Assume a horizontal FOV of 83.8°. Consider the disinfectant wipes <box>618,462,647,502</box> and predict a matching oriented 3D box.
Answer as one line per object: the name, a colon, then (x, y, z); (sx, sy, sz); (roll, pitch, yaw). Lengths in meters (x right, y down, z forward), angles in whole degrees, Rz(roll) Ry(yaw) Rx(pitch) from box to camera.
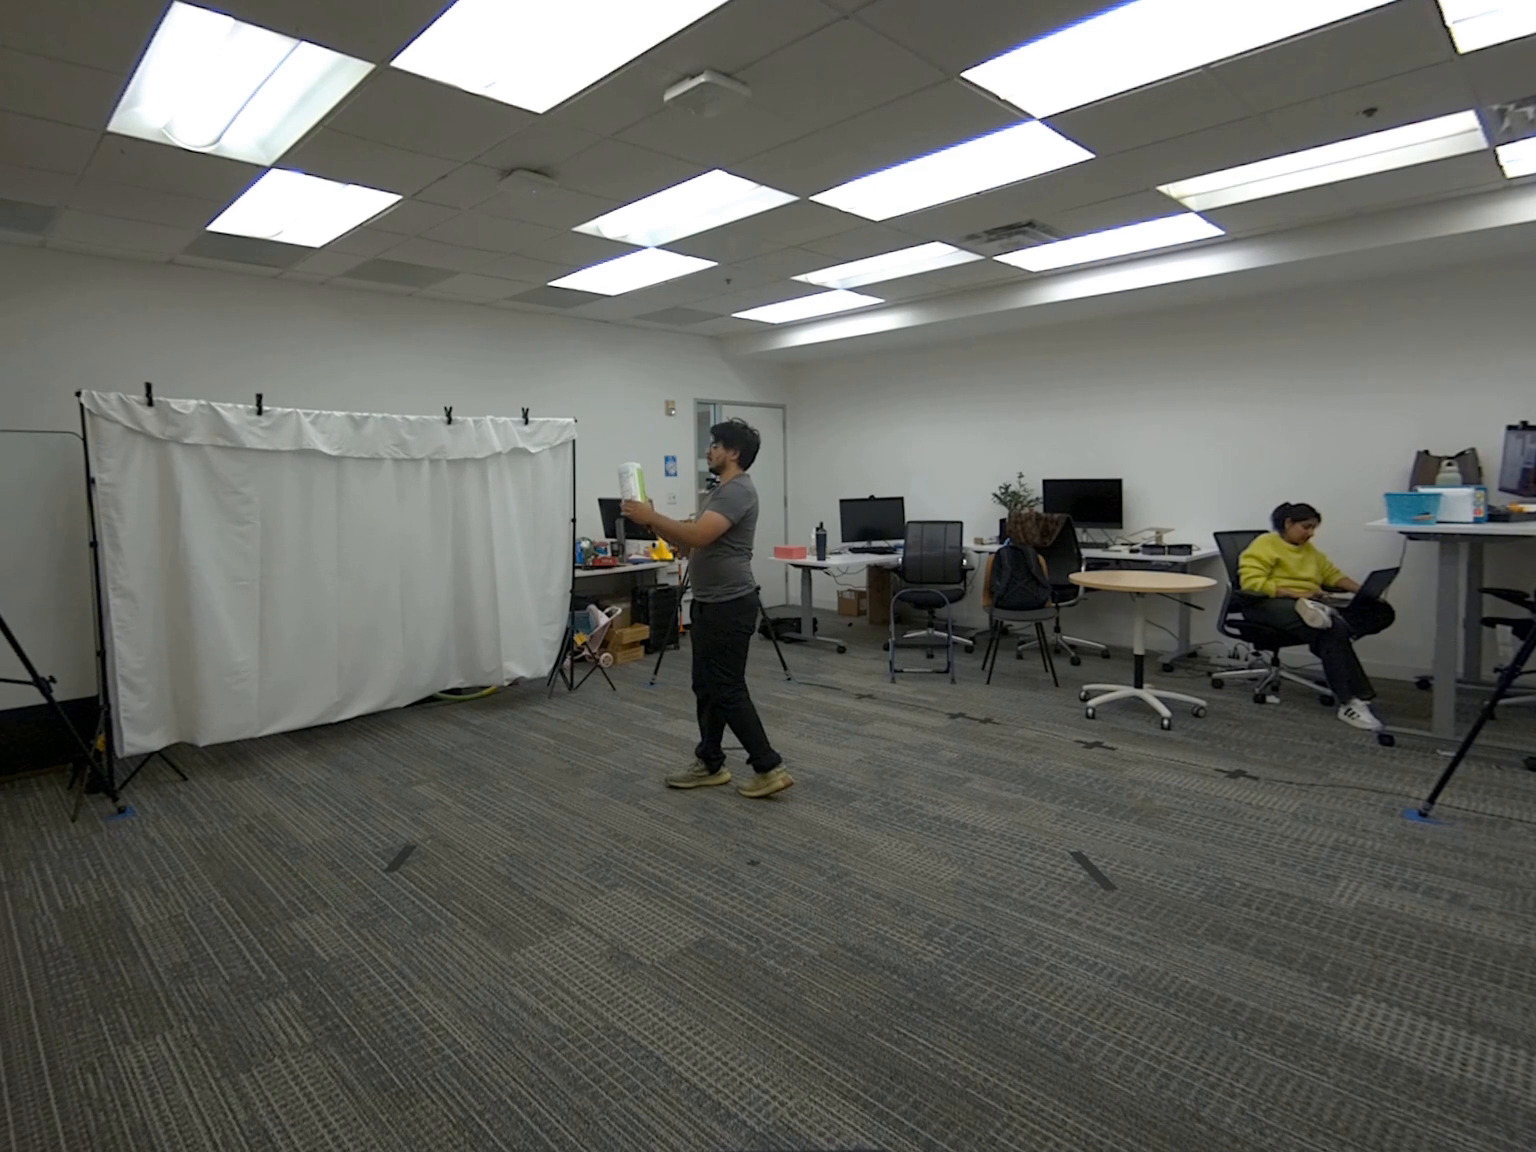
disinfectant wipes: (-0.598, -0.386, 3.798); (0.117, 0.220, 0.116); (-9, -12, -3)
